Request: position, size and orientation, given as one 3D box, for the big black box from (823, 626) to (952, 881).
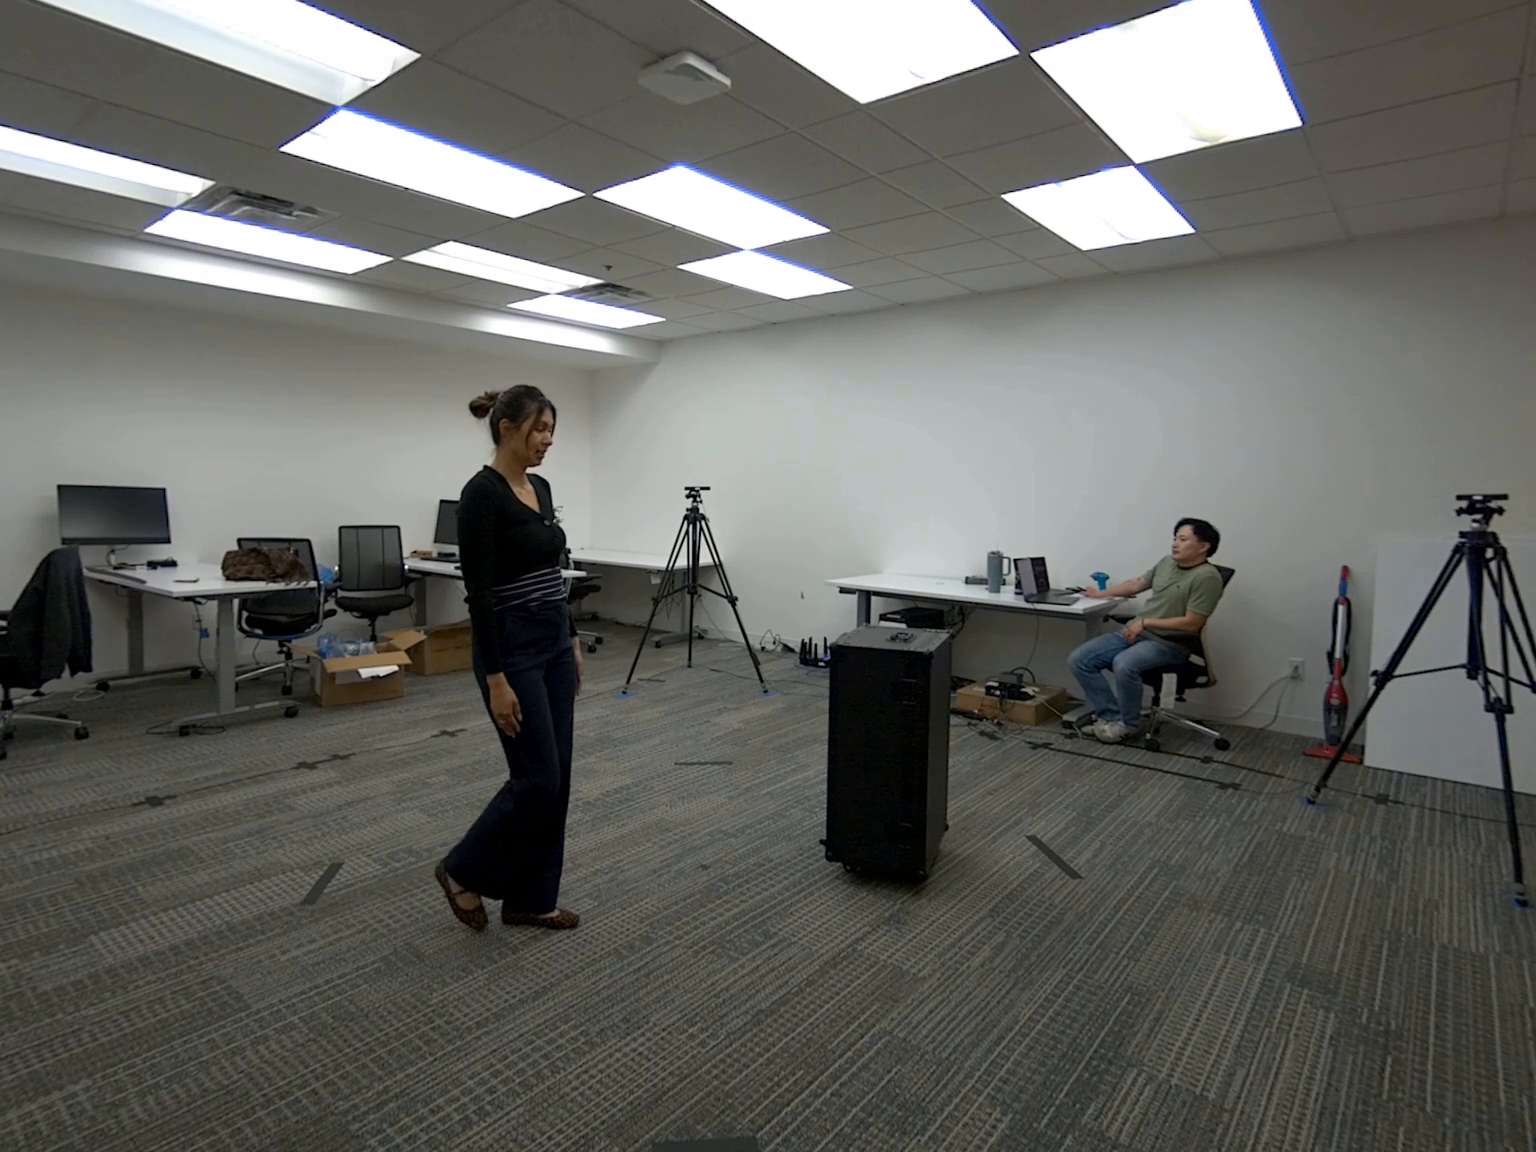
[{"bbox_3d":[0.440,0.647,3.161,0.405,0.859,0.511,2,4,21],"label":"big black box"}]
